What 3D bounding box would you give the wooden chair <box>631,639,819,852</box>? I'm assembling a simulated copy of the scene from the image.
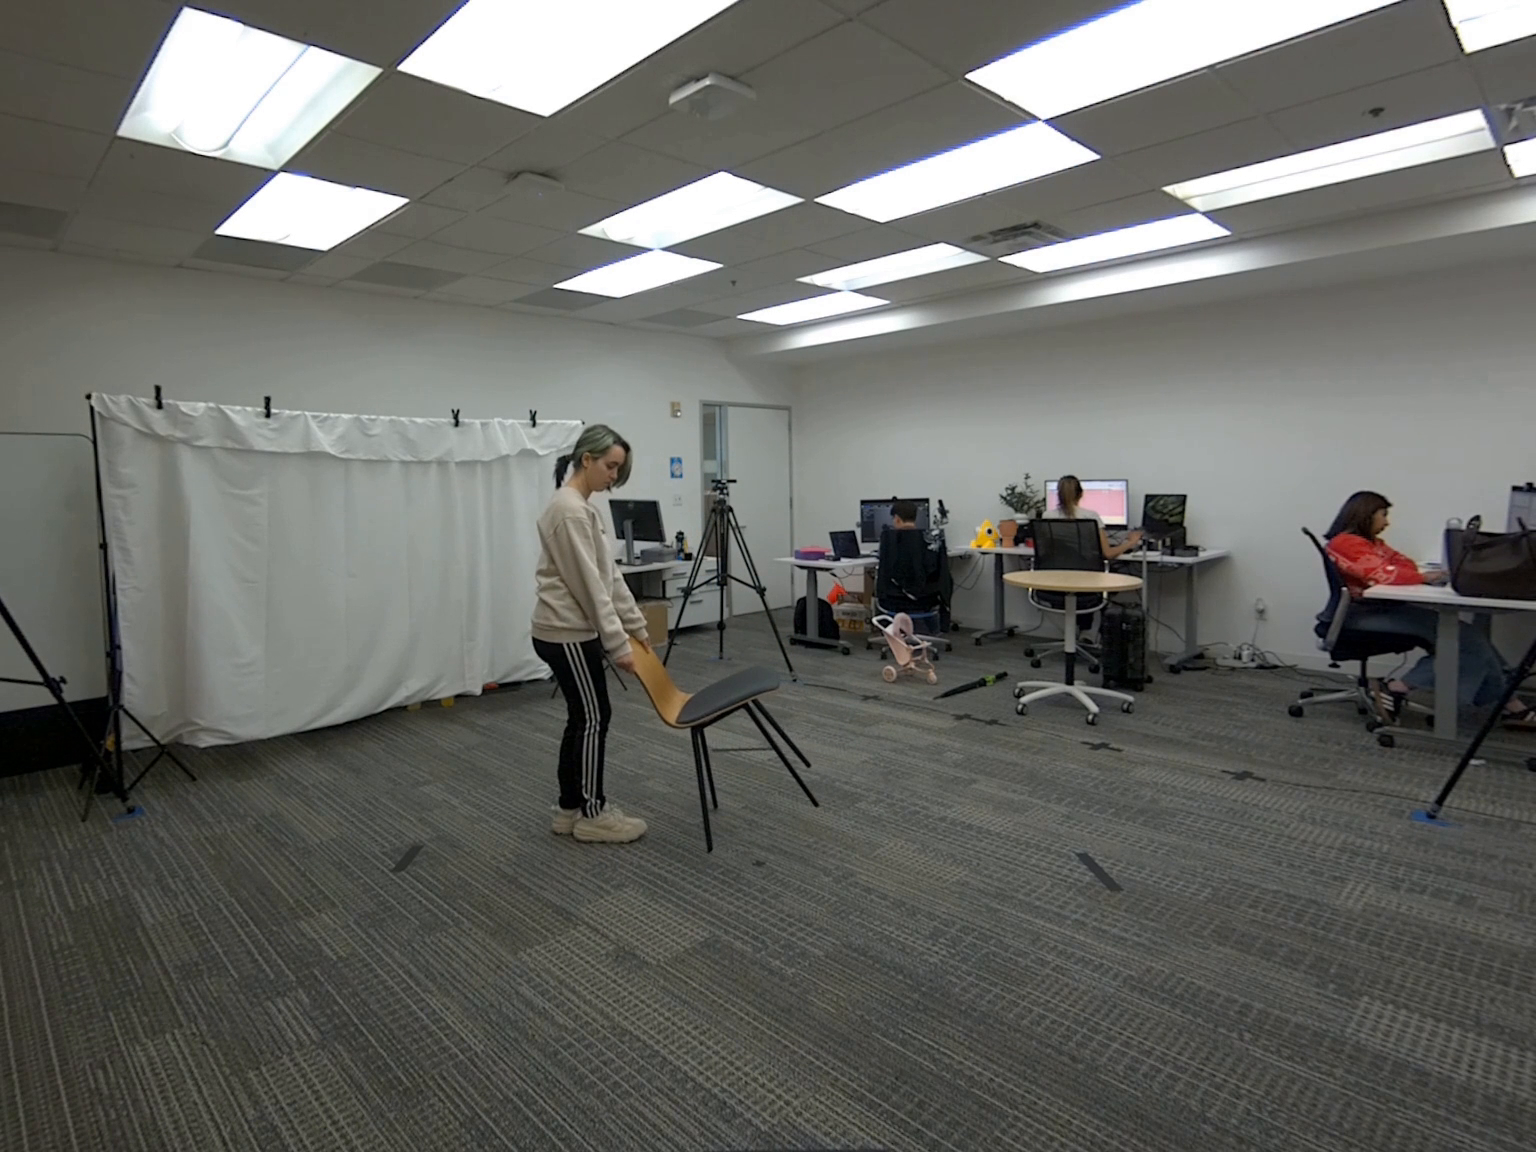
[{"bbox_3d":[-0.183,0.528,3.388,0.523,0.875,0.479,-29,3,2],"label":"wooden chair"}]
